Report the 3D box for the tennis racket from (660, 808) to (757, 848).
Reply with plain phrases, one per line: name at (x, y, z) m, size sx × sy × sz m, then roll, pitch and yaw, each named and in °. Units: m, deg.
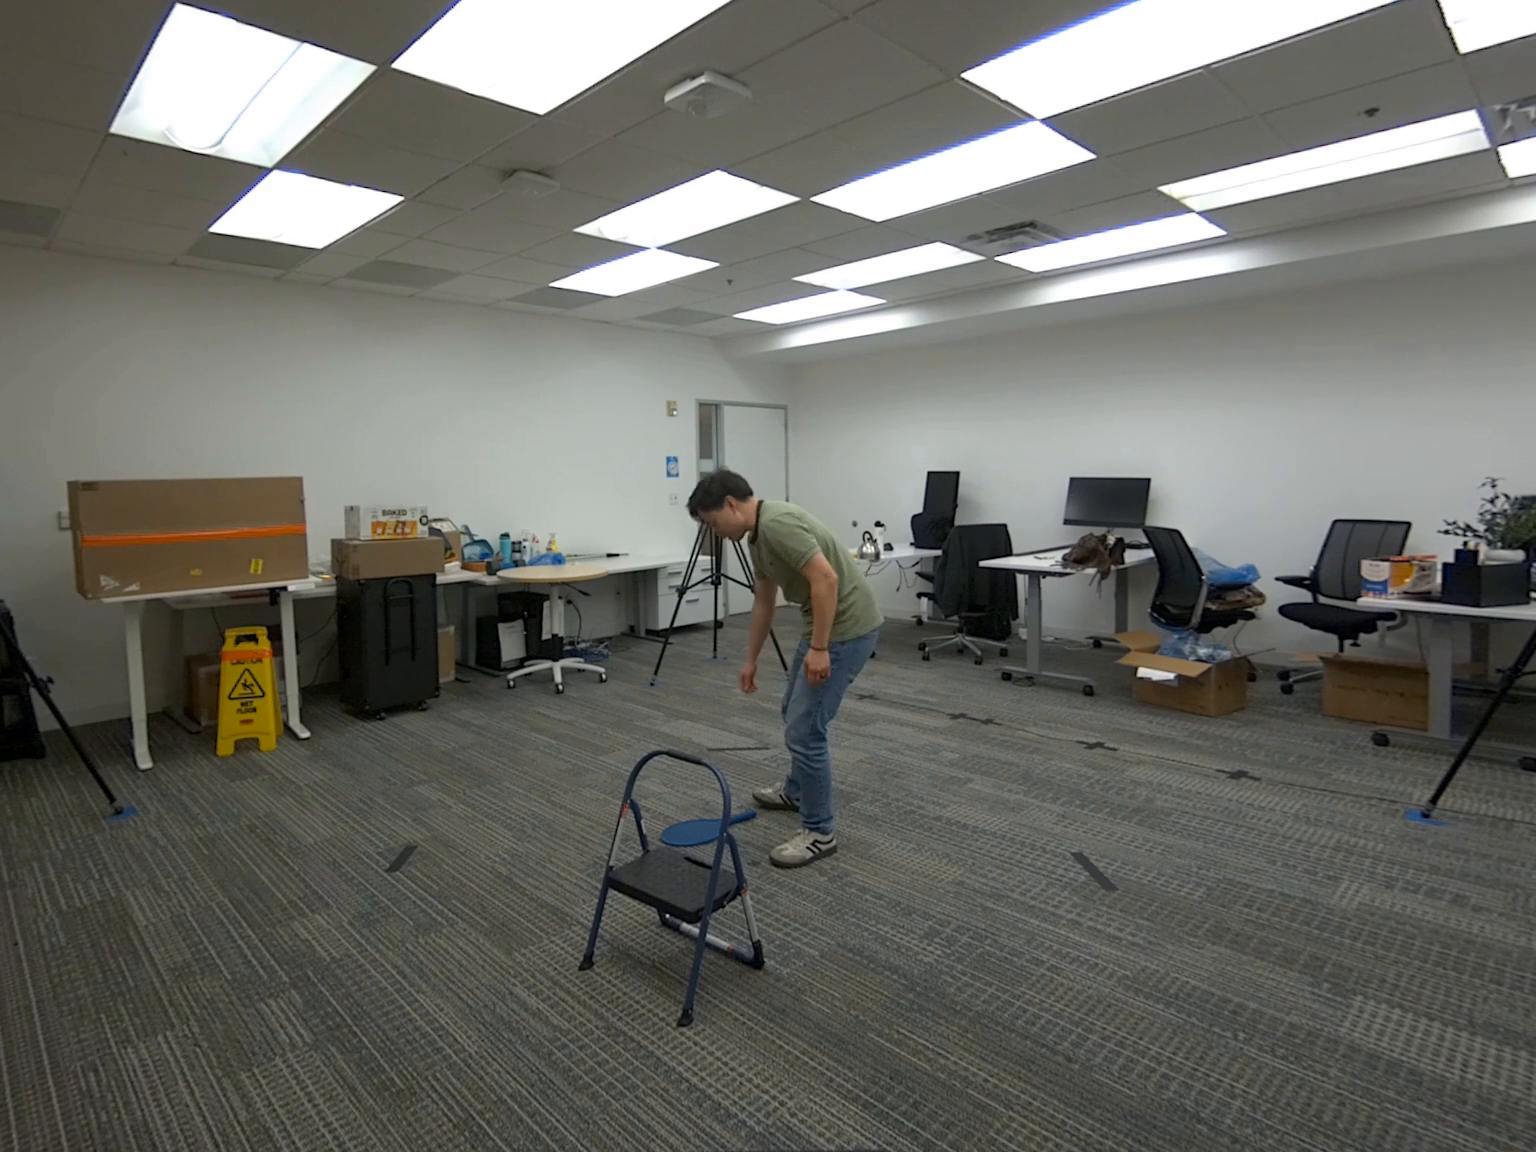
tennis racket at (-0.233, 1.003, 3.412) m, size 0.422 × 0.031 × 0.220 m, roll -7°, pitch 8°, yaw -35°
